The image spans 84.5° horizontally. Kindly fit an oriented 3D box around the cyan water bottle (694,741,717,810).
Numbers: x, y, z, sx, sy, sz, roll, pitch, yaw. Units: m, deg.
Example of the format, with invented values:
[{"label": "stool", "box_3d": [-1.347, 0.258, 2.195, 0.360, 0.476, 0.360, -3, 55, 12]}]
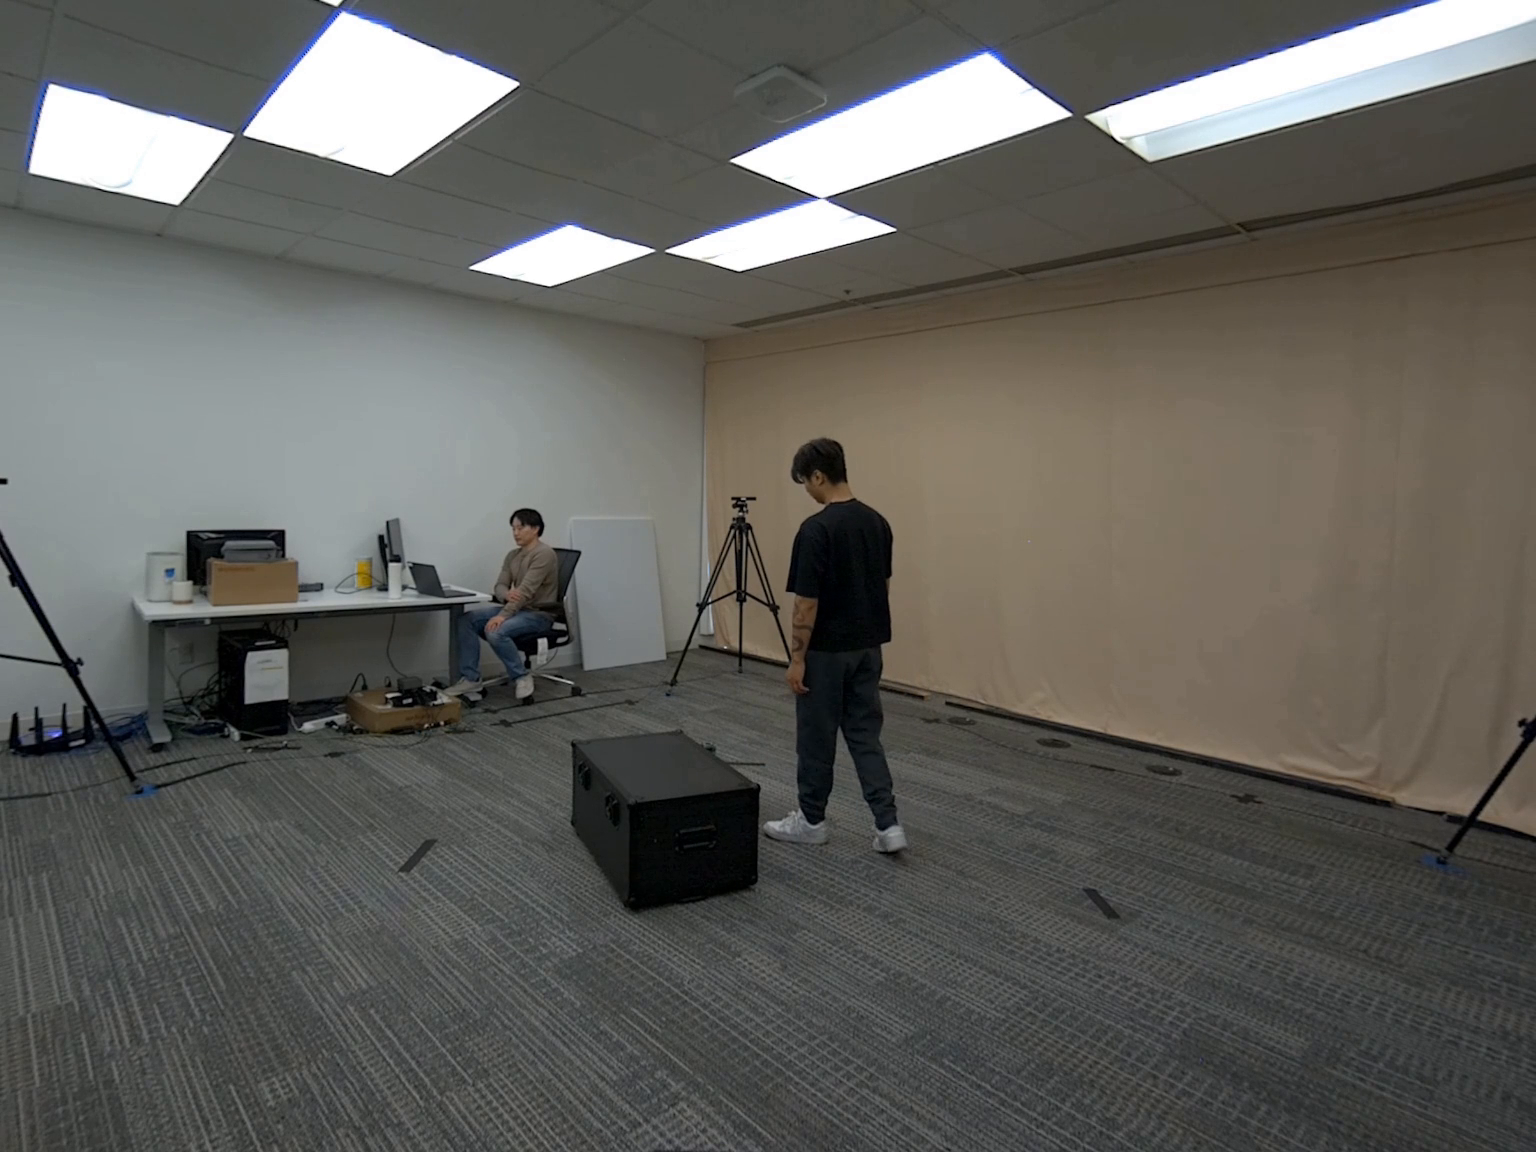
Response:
[{"label": "cyan water bottle", "box_3d": [-0.286, 0.900, 3.839, 0.092, 0.283, 0.092, 1, 2, -1]}]
